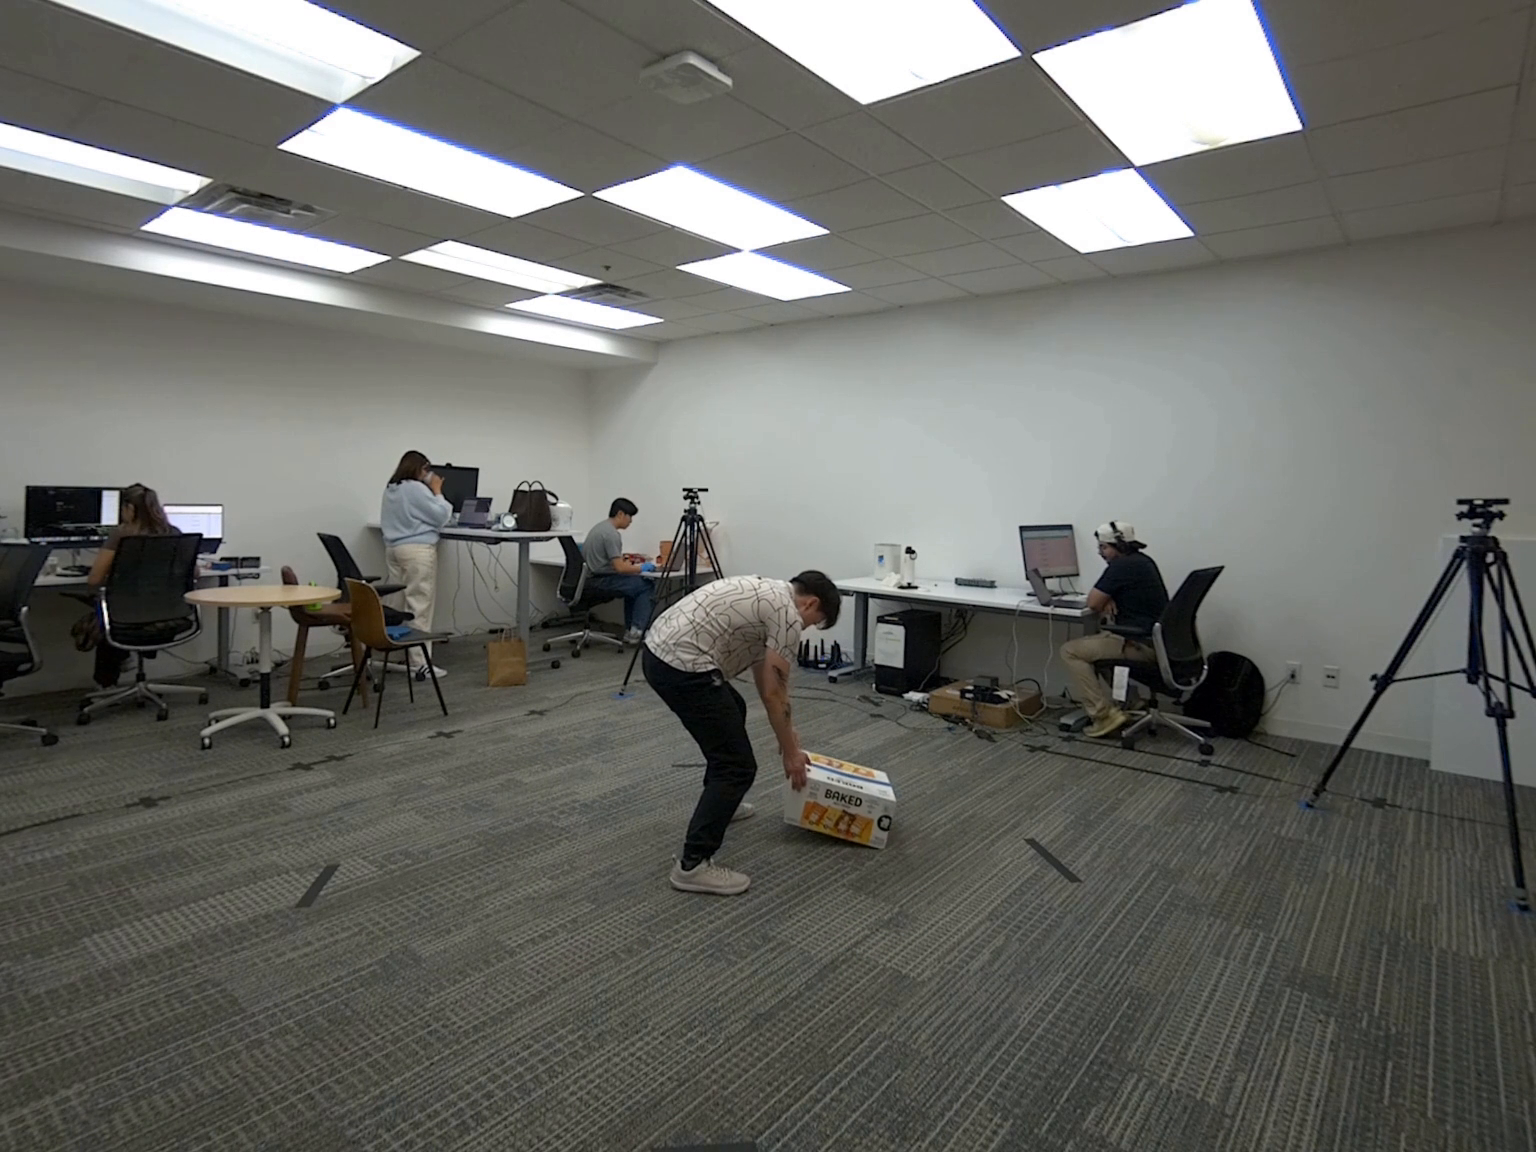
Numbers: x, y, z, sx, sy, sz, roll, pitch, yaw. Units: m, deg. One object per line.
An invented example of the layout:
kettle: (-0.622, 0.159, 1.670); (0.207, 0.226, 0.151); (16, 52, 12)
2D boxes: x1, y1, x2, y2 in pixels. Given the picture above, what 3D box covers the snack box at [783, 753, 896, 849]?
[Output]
snack box: (0.281, 0.903, 3.471); (0.407, 0.205, 0.340); (14, 4, 2)
